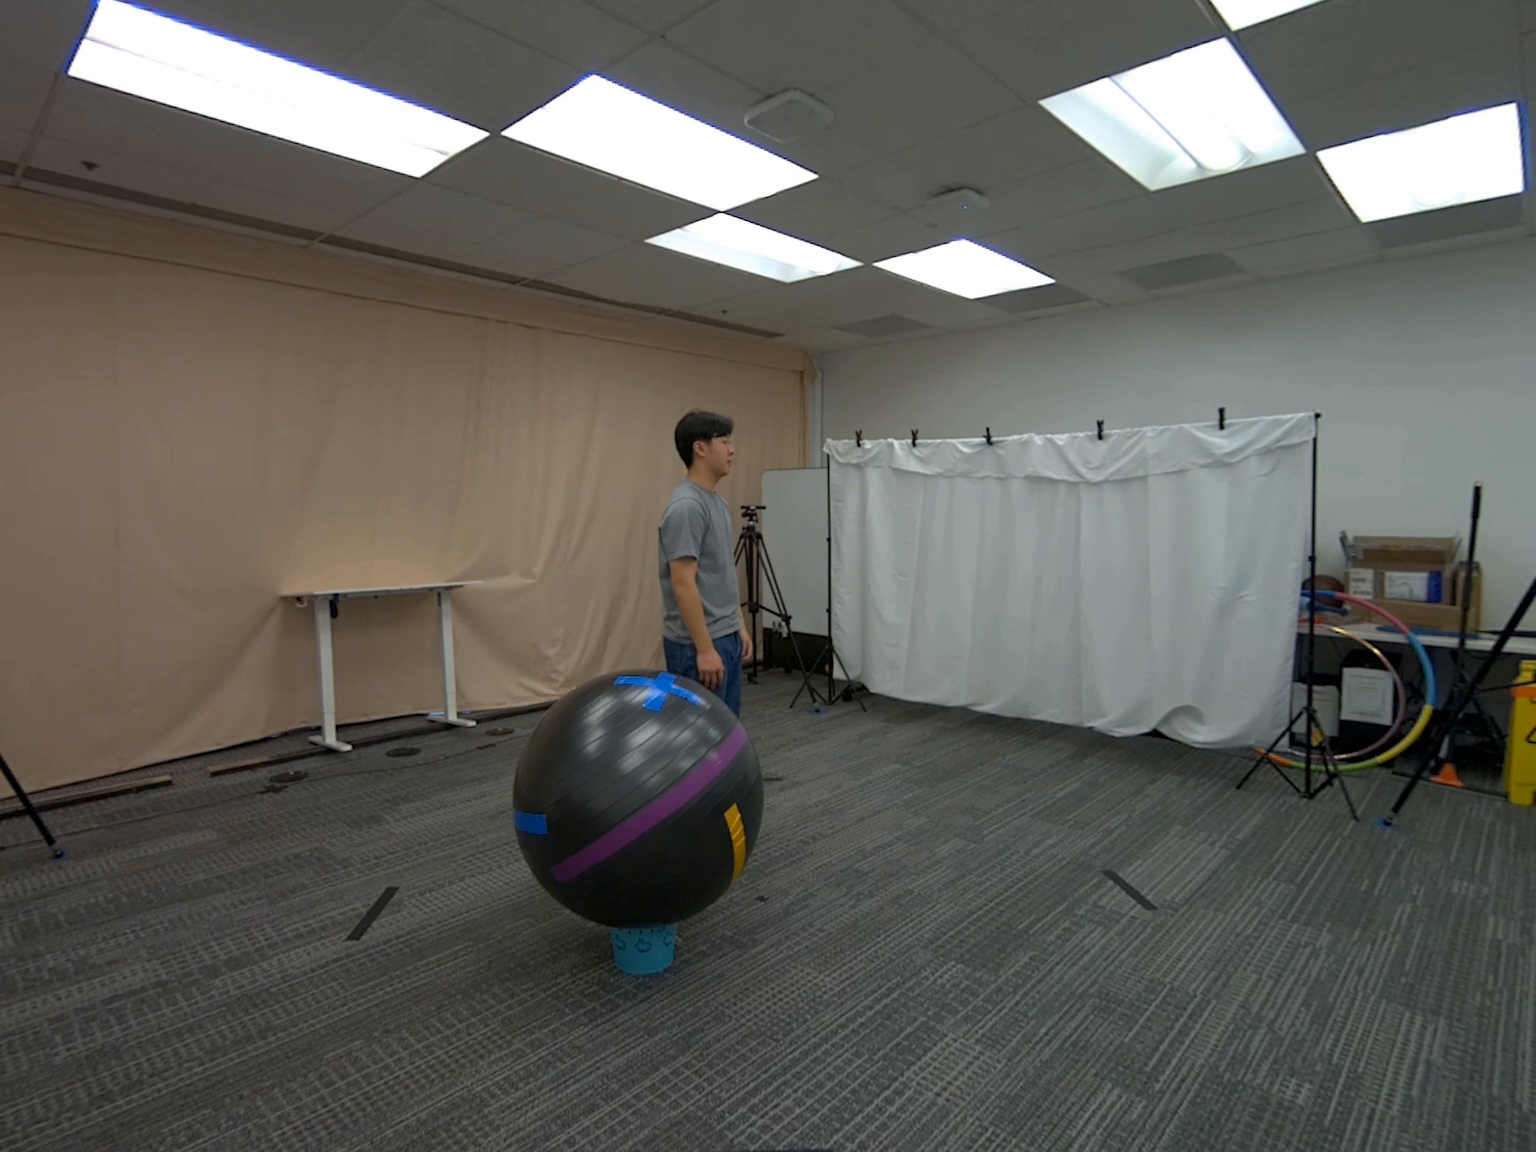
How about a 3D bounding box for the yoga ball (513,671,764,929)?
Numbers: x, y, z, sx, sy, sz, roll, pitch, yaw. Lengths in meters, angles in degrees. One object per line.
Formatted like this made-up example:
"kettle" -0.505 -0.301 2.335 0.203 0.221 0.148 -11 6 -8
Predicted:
"yoga ball" -0.400 0.678 2.568 0.757 0.756 0.761 0 4 -2
